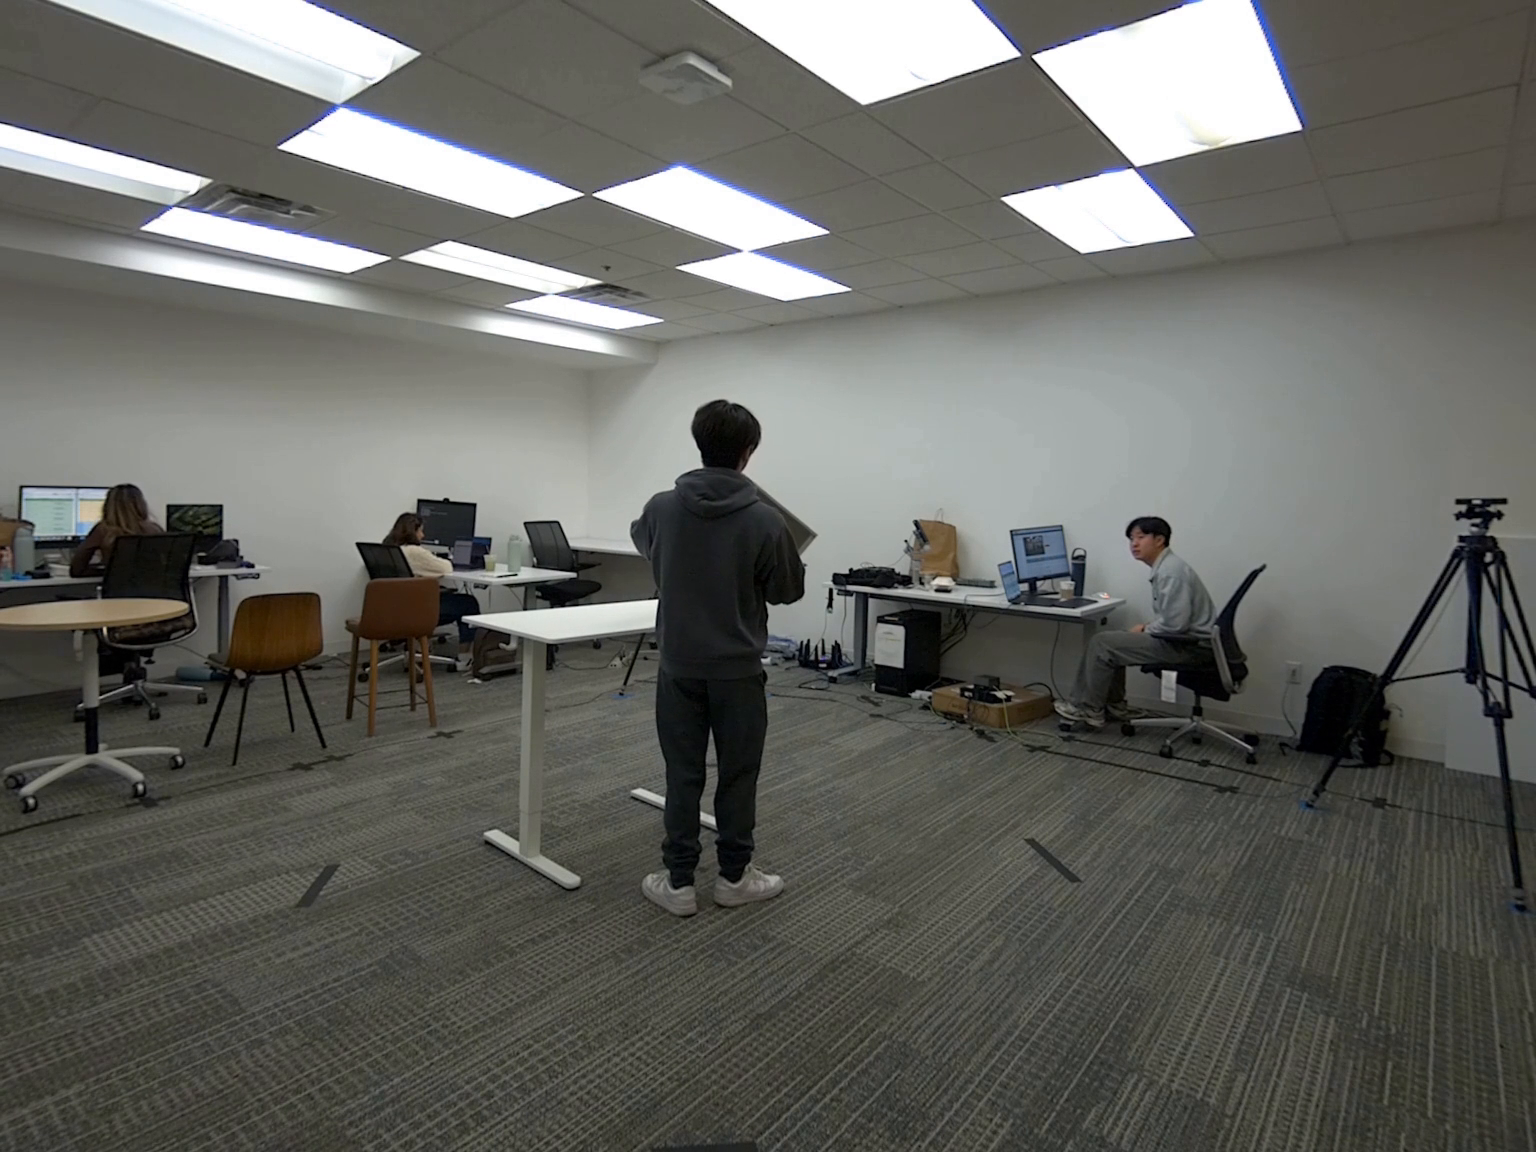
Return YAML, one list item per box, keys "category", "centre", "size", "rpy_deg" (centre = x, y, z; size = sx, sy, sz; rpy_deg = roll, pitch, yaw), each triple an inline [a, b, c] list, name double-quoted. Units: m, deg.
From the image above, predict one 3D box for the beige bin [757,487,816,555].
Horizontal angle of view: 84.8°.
- category: "beige bin"
  centre: [-0.092, -0.154, 3.286]
  size: [0.426, 0.377, 0.187]
  rpy_deg: [39, 8, 5]
